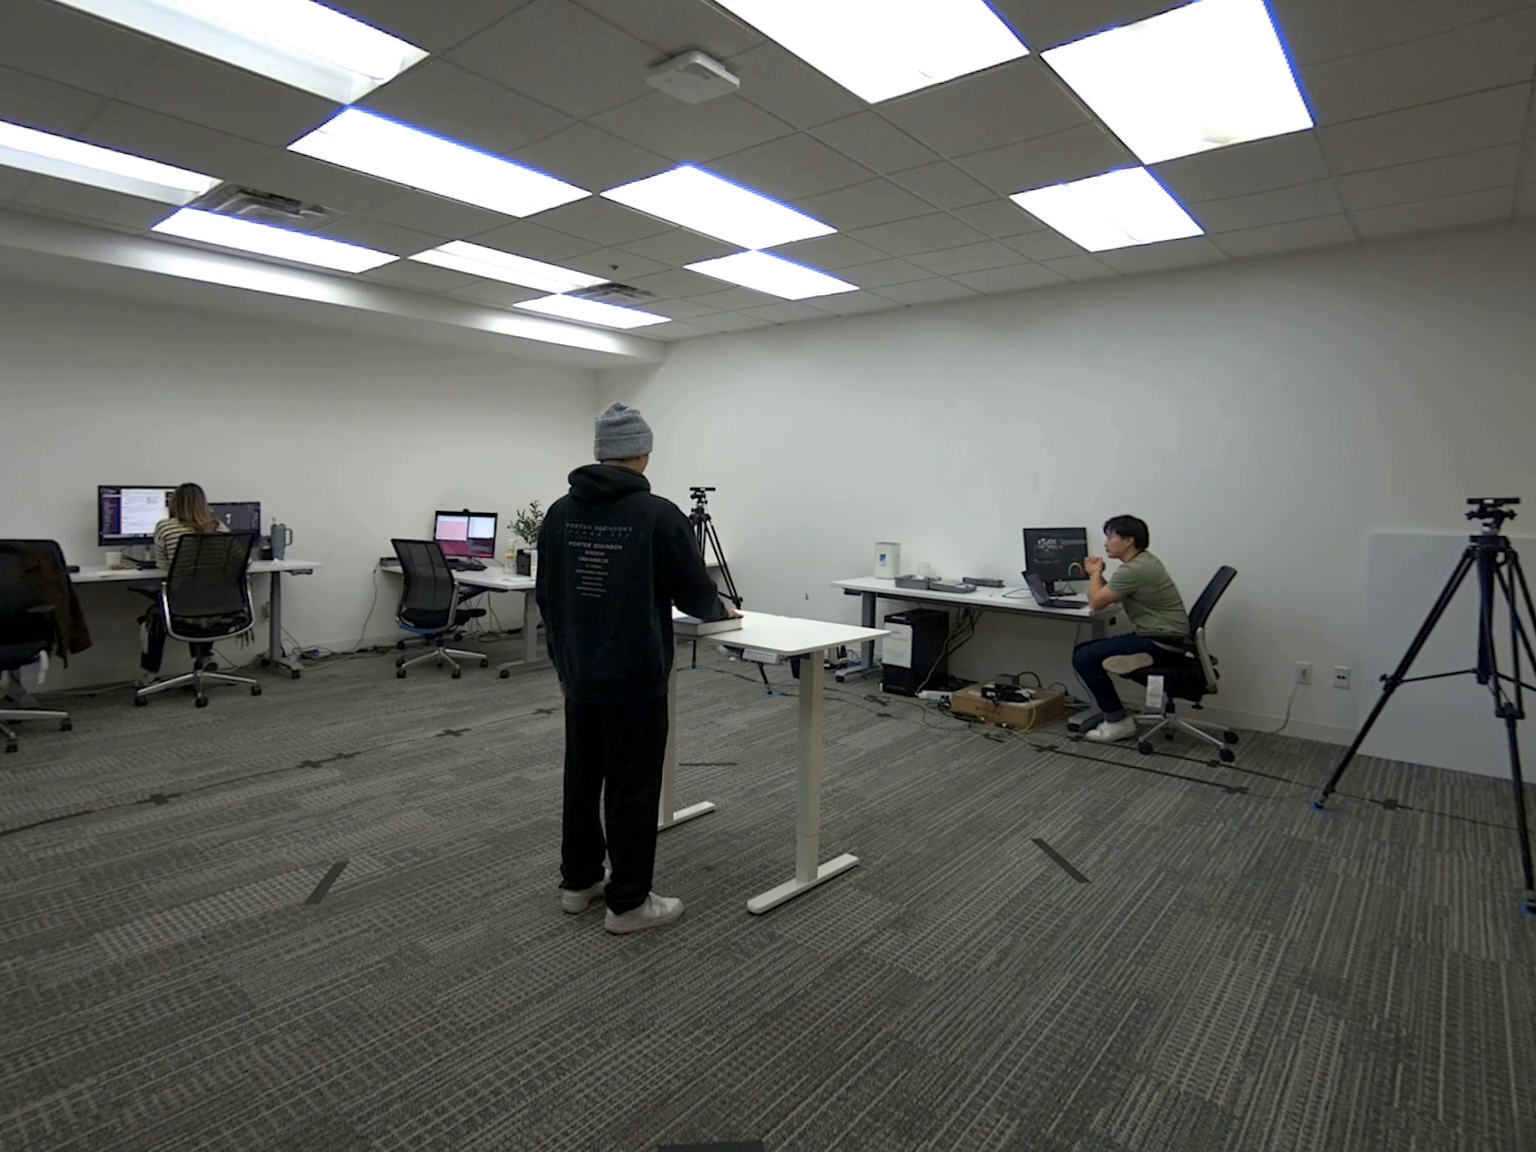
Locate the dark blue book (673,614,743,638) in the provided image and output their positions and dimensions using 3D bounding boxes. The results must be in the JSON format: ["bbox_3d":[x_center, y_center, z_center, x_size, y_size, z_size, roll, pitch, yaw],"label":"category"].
[{"bbox_3d":[-0.226,0.172,3.032,0.169,0.045,0.238,5,6,38],"label":"dark blue book"}]
